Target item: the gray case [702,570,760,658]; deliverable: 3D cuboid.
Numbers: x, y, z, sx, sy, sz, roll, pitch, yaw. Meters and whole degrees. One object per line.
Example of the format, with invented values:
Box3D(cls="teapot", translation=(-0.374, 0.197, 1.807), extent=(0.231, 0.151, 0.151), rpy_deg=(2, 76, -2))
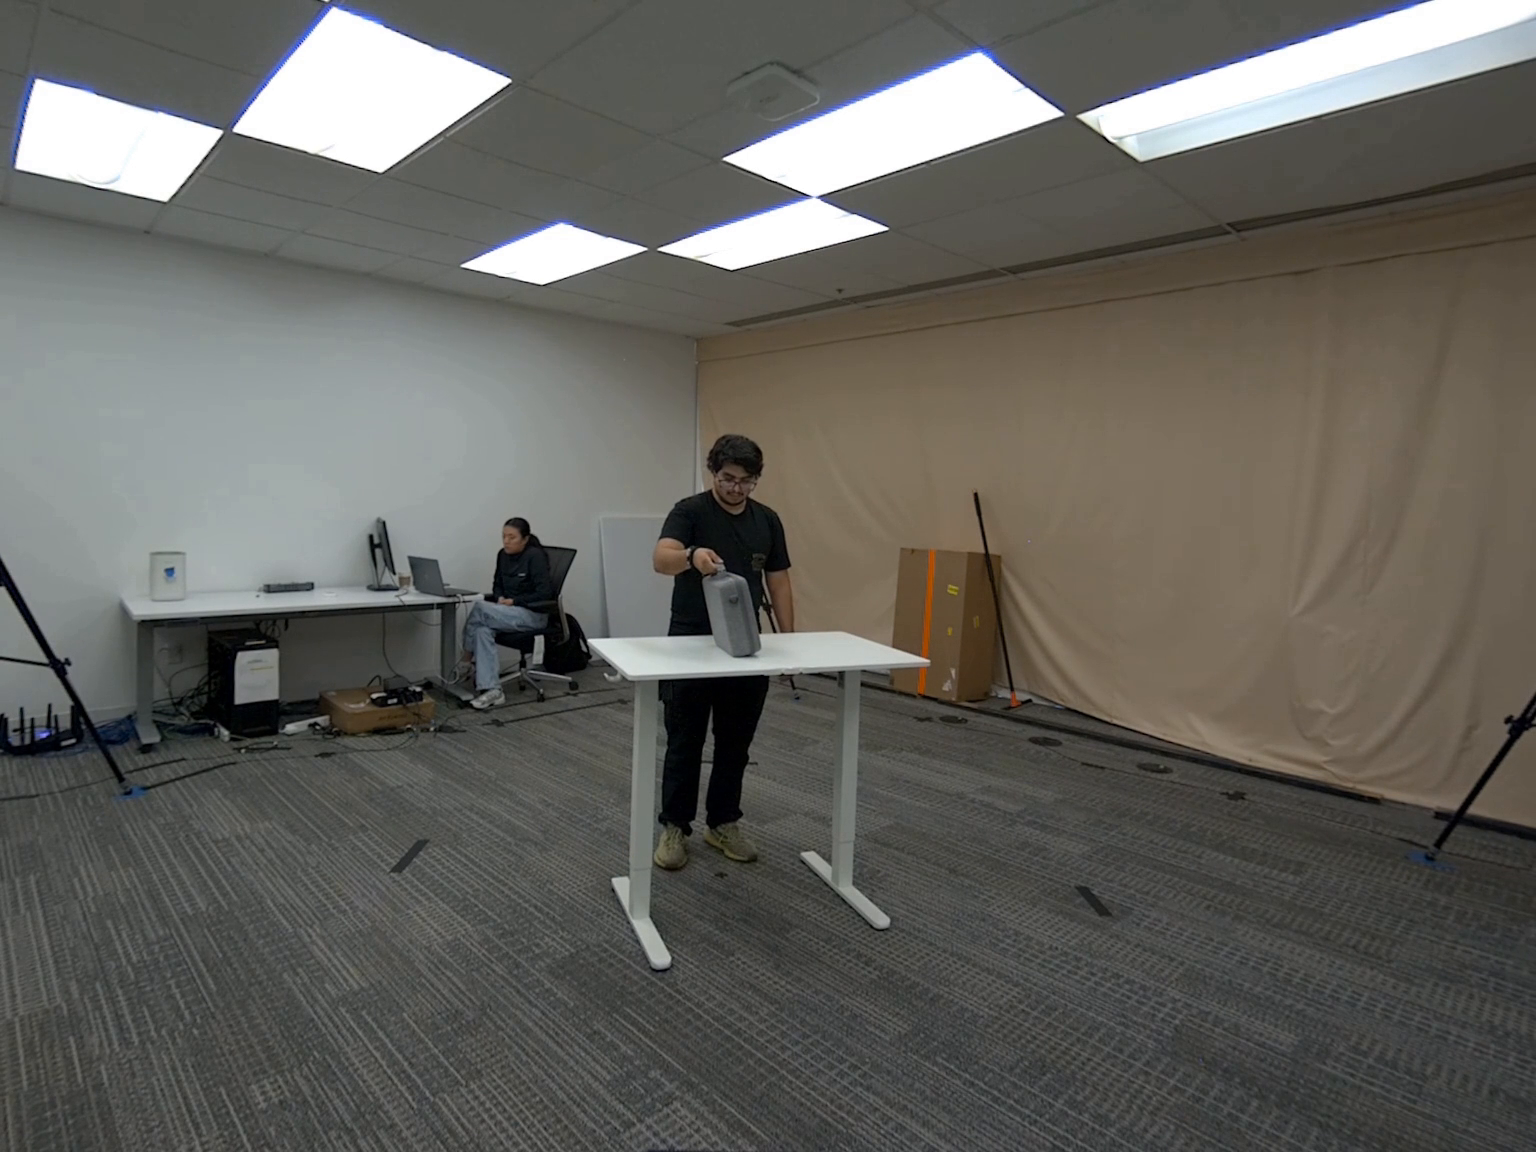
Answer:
Box3D(cls="gray case", translation=(-0.130, 0.116, 2.772), extent=(0.103, 0.259, 0.261), rpy_deg=(-9, 8, -16))
